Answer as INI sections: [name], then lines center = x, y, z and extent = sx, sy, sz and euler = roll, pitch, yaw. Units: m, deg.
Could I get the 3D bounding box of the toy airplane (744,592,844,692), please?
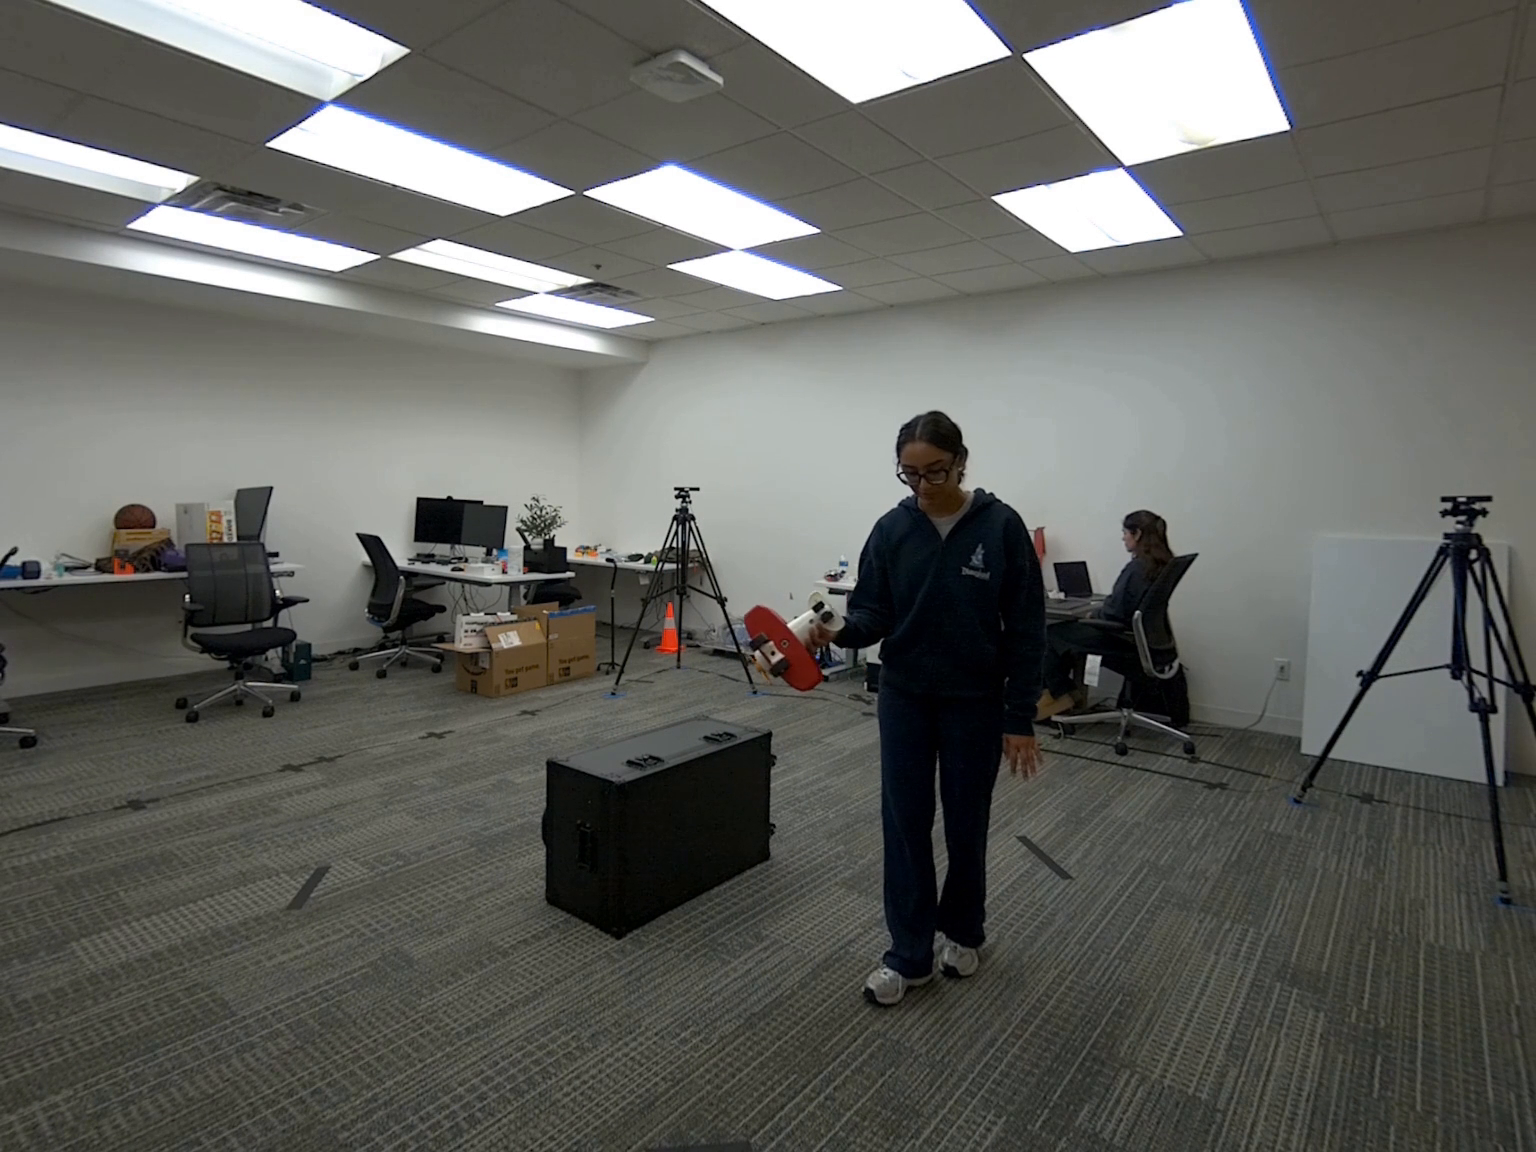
[toy airplane]
center = 0.082, 0.178, 2.236
extent = 0.260, 0.255, 0.153
euler = -11, -14, 1
